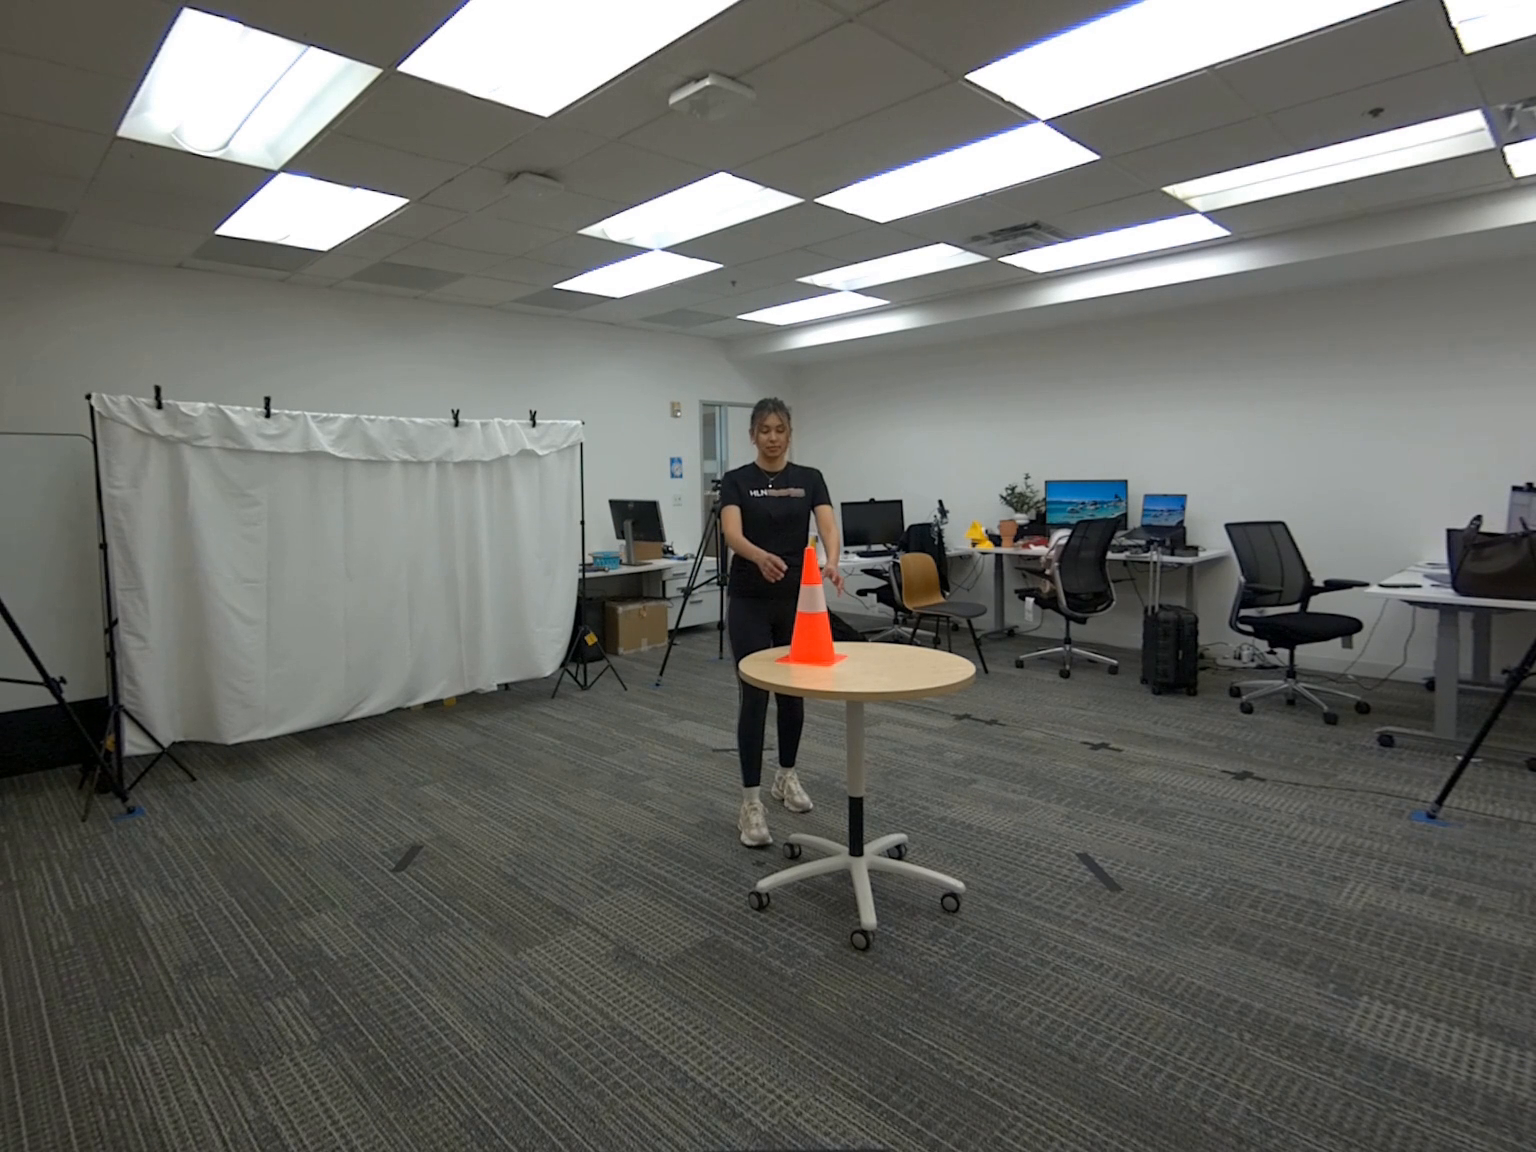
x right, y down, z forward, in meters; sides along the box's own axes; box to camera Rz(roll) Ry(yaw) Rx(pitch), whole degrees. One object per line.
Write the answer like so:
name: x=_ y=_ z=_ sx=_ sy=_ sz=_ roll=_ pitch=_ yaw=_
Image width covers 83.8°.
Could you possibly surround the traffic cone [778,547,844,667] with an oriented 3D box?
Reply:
traffic cone: x=0.153 y=0.099 z=2.892 sx=0.210 sy=0.382 sz=0.199 roll=0 pitch=6 yaw=28
